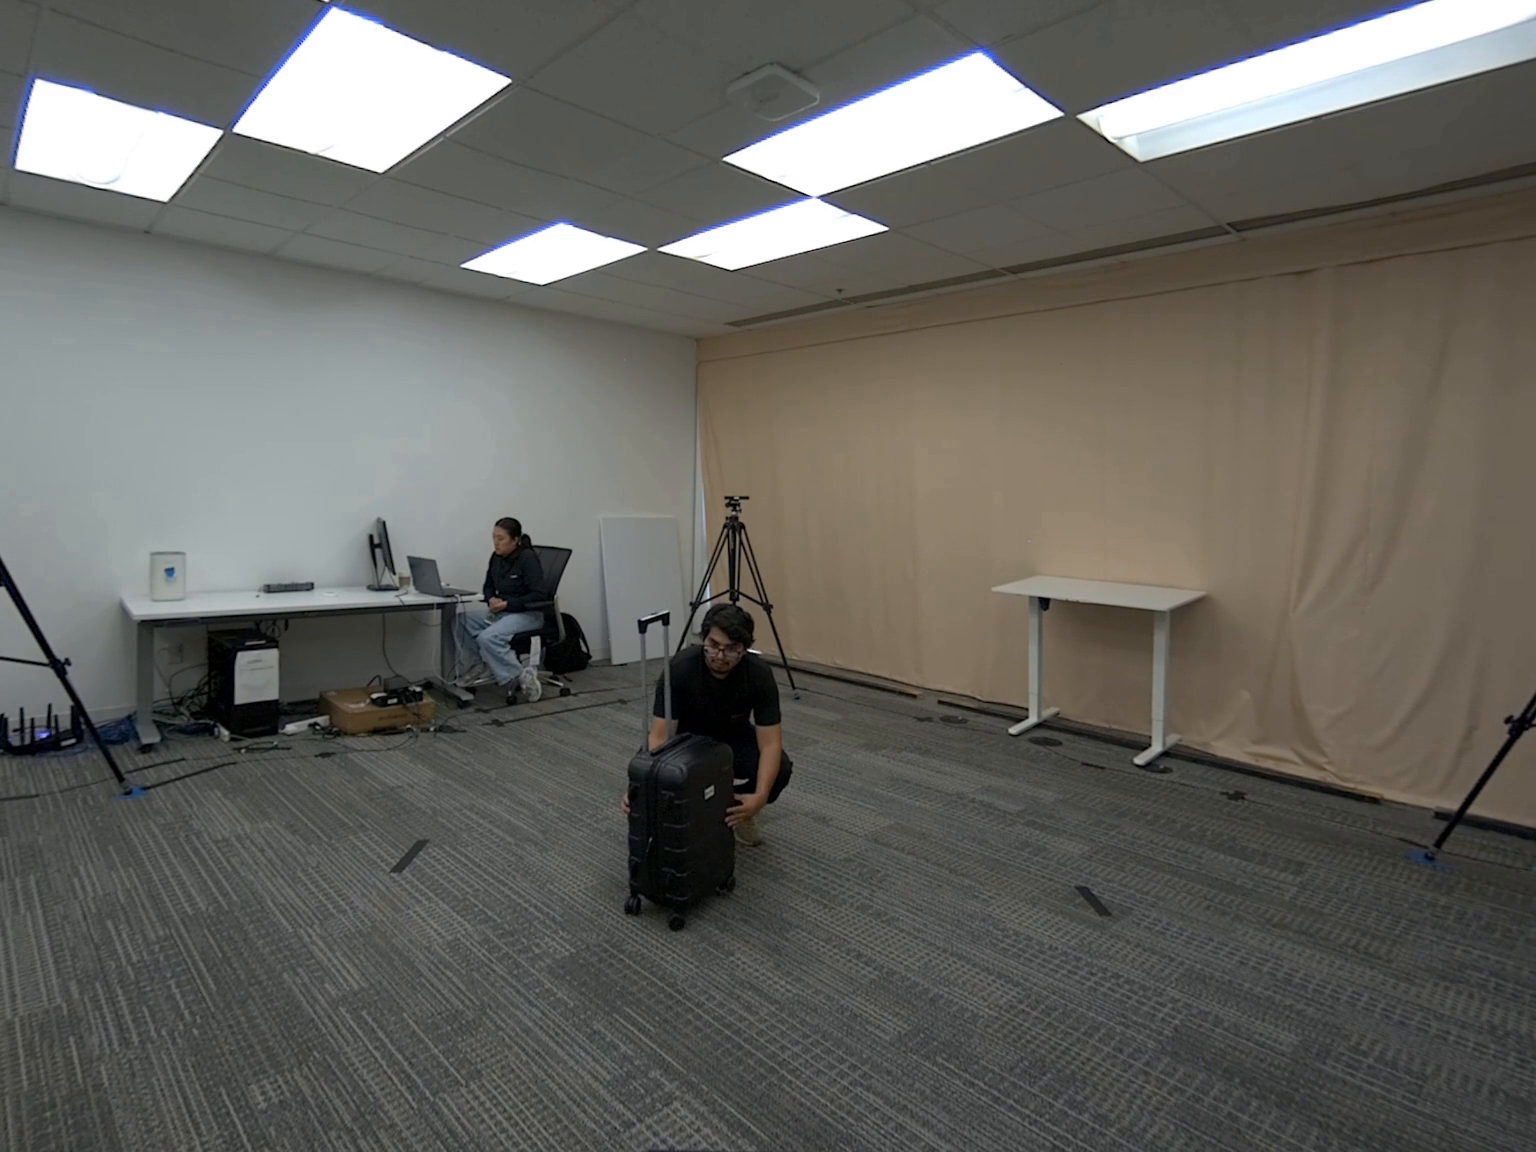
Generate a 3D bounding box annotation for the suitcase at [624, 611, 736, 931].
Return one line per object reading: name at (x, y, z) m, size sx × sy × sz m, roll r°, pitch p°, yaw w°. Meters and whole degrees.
suitcase at (-0.294, 0.639, 2.839) m, size 0.263 × 0.974 × 0.377 m, roll 6°, pitch 8°, yaw 30°
